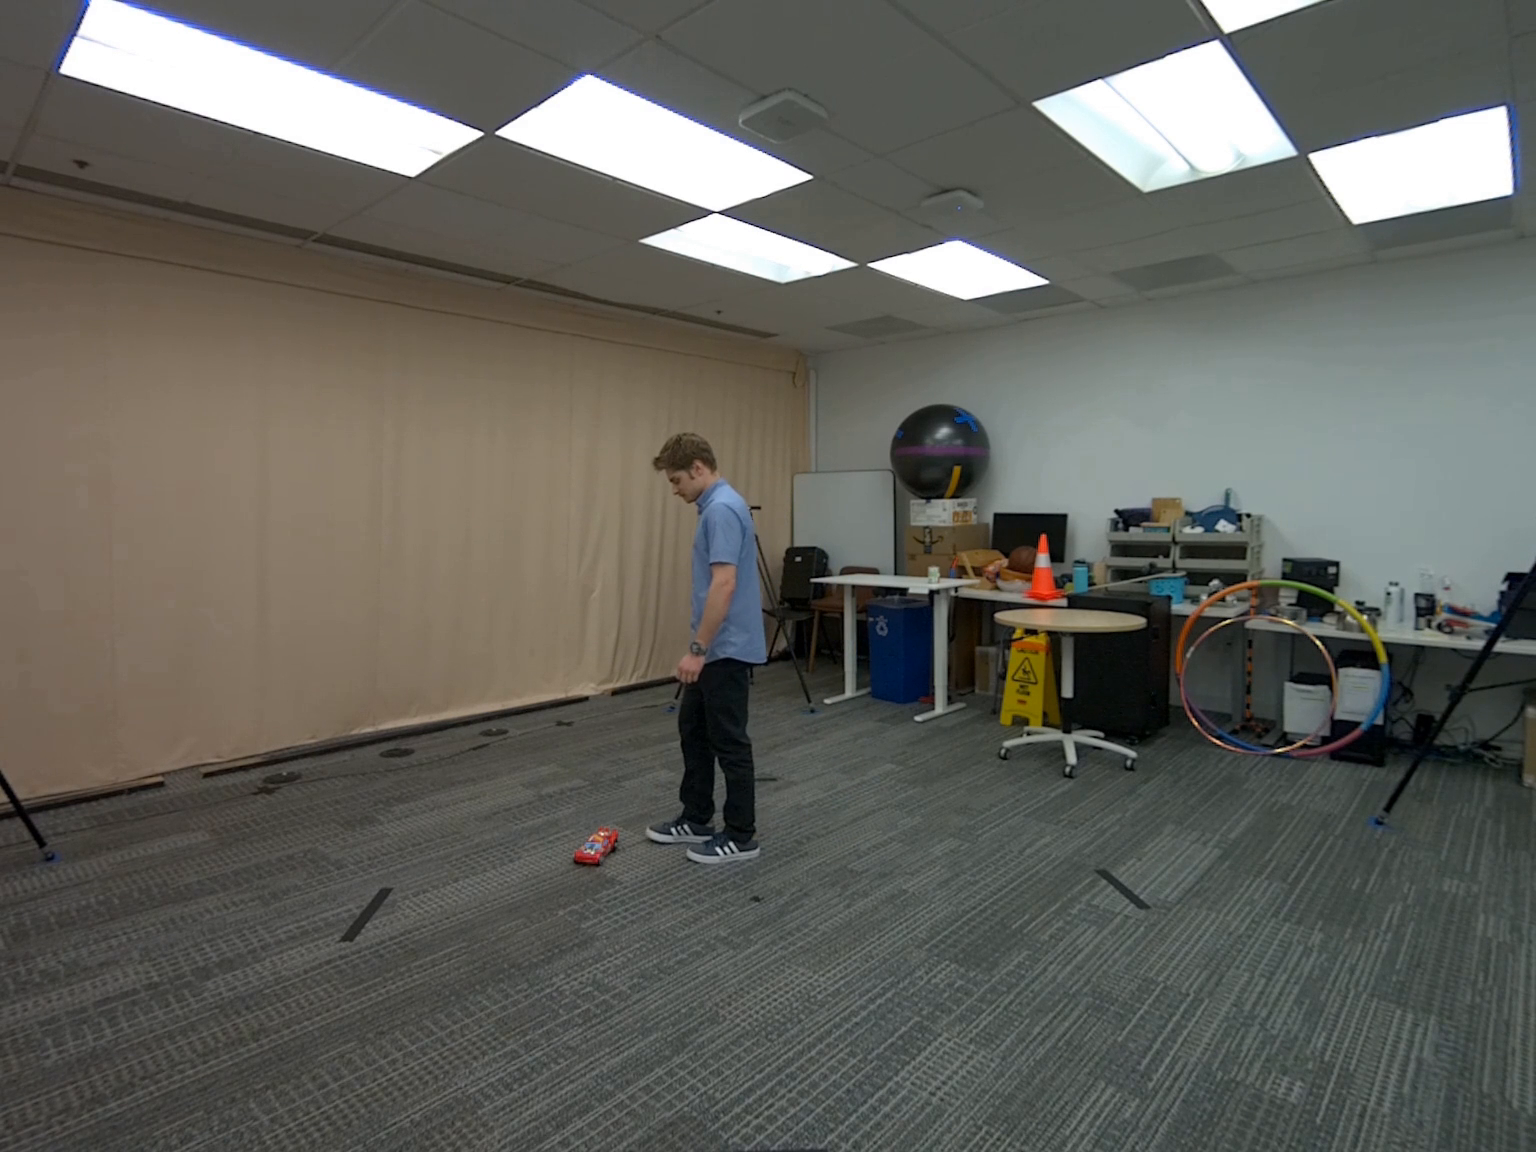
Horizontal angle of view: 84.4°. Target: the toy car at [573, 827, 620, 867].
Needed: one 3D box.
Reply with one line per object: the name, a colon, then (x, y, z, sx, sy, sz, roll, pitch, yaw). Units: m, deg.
toy car: (-0.680, 1.088, 3.379, 0.132, 0.082, 0.253, 0, 15, 12)
